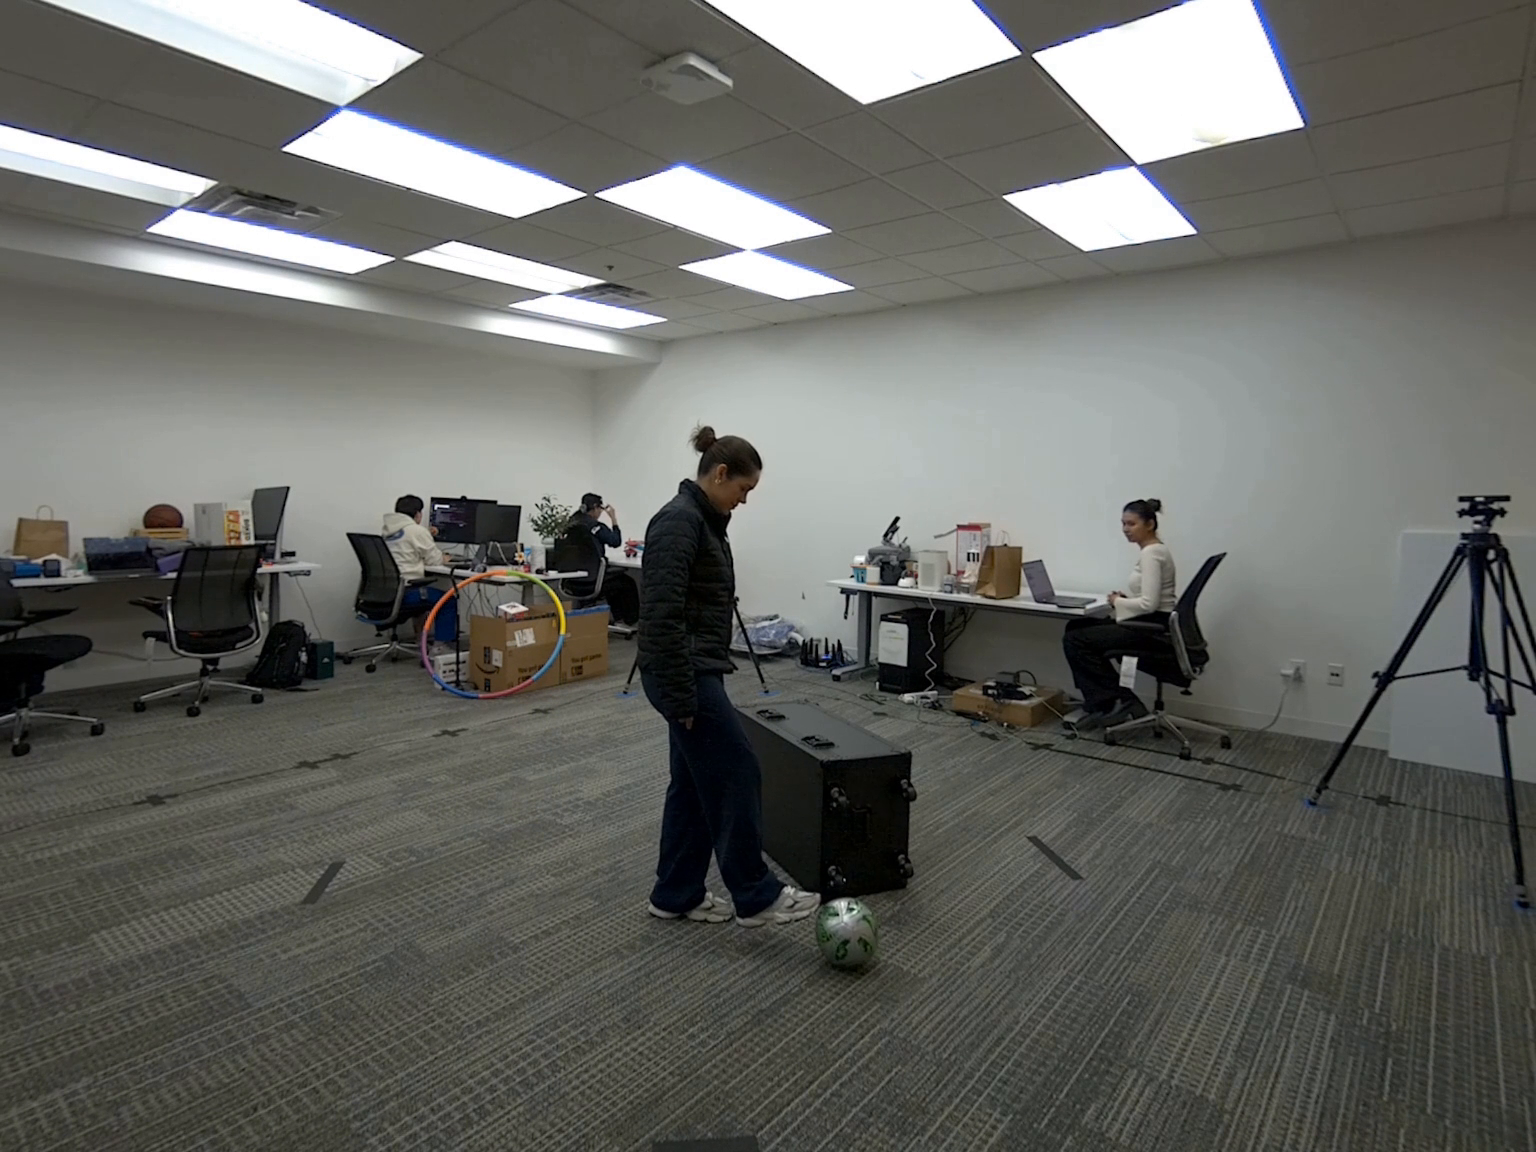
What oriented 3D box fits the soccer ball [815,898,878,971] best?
[{"bbox_3d":[0.227,1.046,2.496,0.187,0.187,0.188,1,4,-2],"label":"soccer ball"}]
